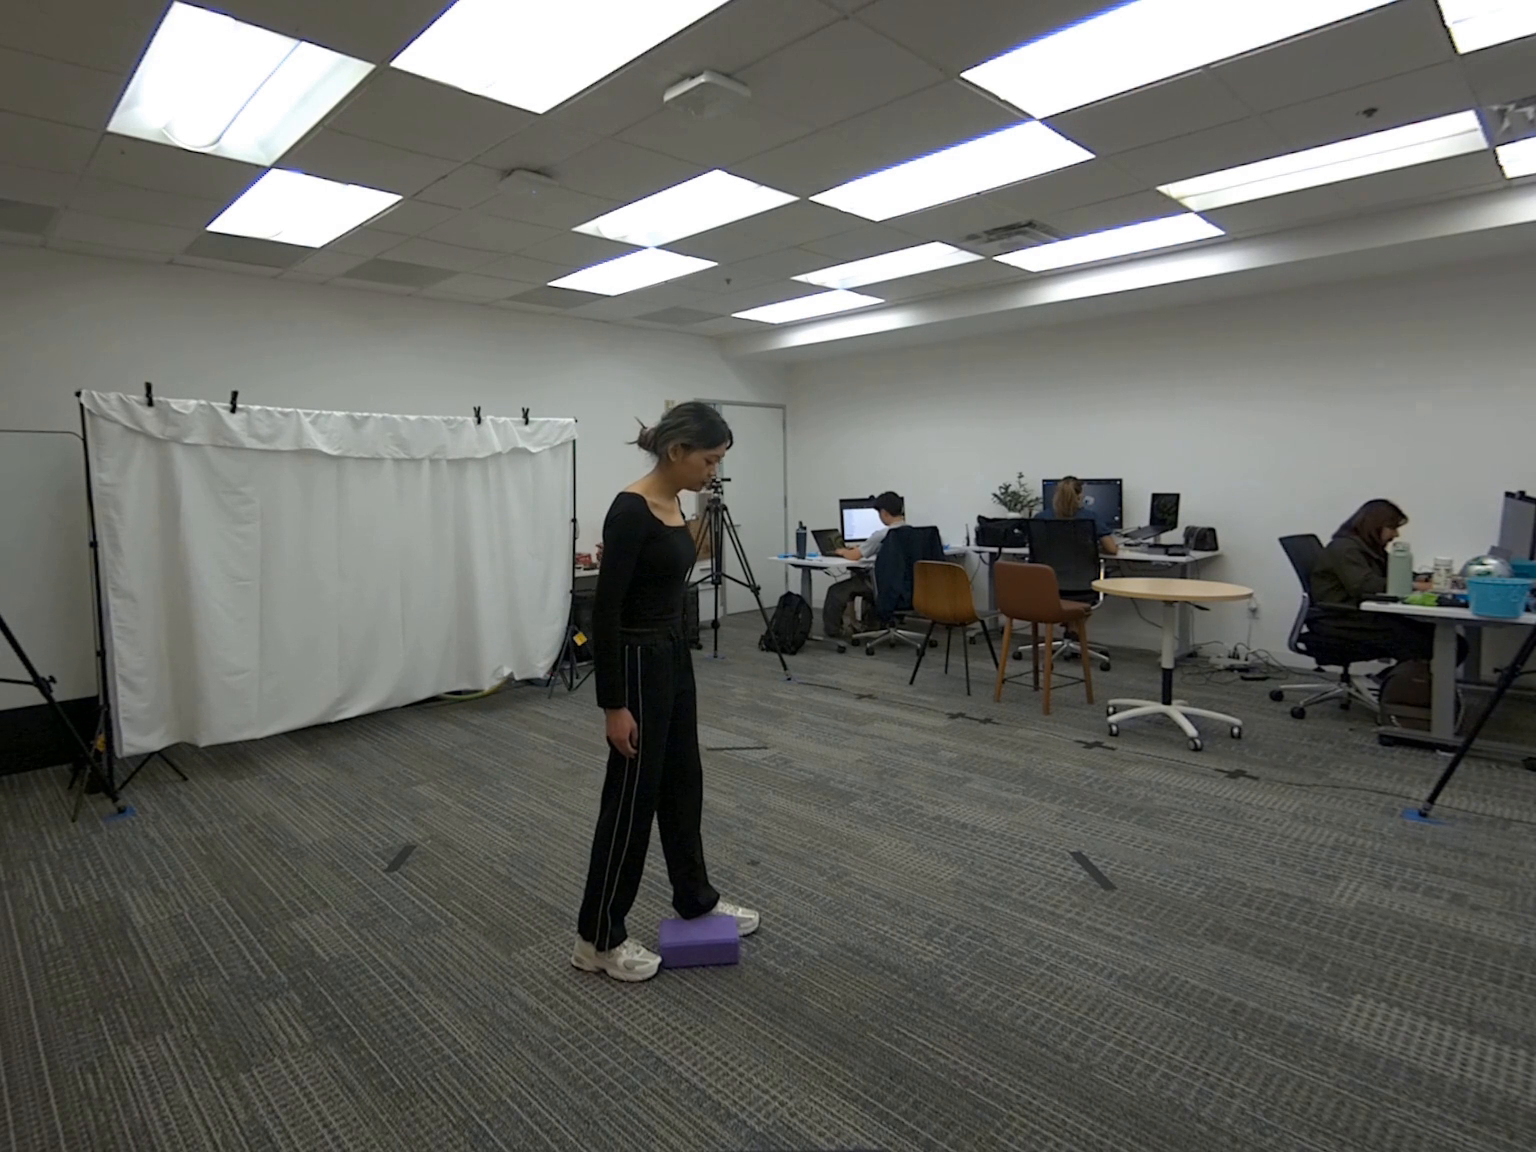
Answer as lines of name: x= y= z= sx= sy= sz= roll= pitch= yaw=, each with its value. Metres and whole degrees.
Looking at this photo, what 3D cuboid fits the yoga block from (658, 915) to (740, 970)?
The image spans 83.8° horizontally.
yoga block: x=-0.201 y=1.081 z=2.517 sx=0.228 sy=0.076 sz=0.151 roll=-3 pitch=7 yaw=-6
